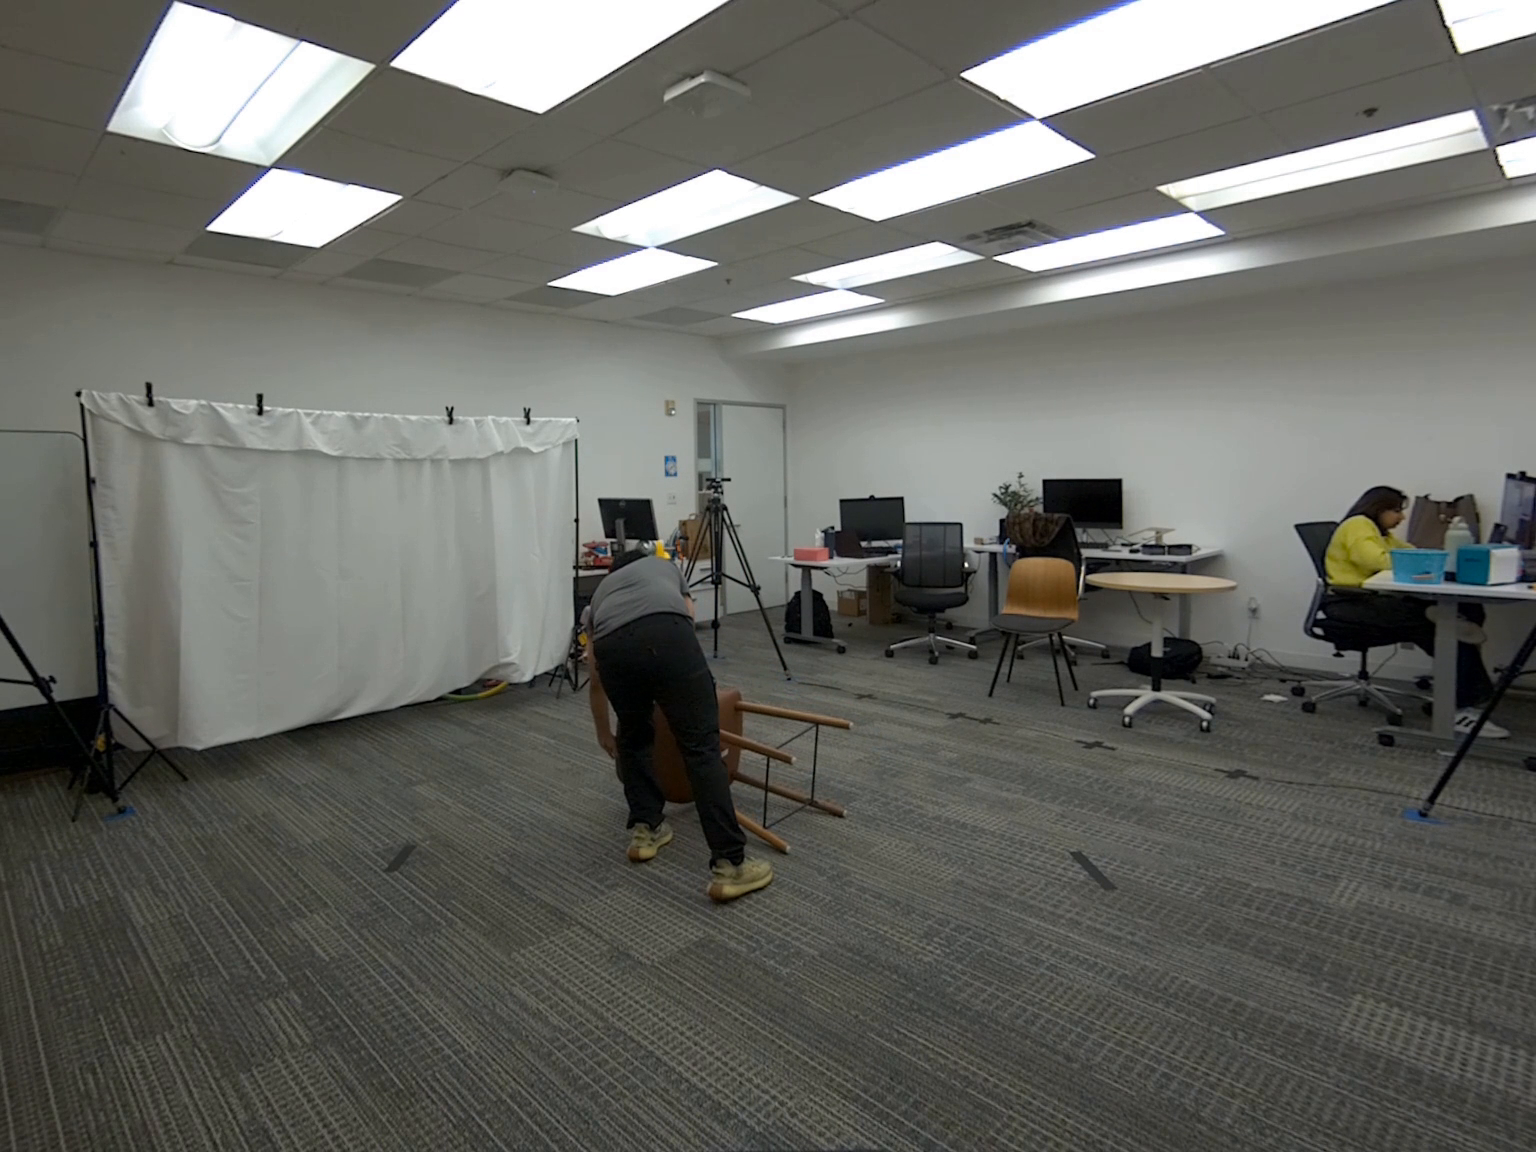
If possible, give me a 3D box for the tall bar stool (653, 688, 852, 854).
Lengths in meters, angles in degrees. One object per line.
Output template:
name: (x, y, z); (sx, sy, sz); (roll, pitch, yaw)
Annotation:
tall bar stool: (-0.155, 0.757, 3.575); (0.917, 0.453, 0.457); (10, 12, 34)
